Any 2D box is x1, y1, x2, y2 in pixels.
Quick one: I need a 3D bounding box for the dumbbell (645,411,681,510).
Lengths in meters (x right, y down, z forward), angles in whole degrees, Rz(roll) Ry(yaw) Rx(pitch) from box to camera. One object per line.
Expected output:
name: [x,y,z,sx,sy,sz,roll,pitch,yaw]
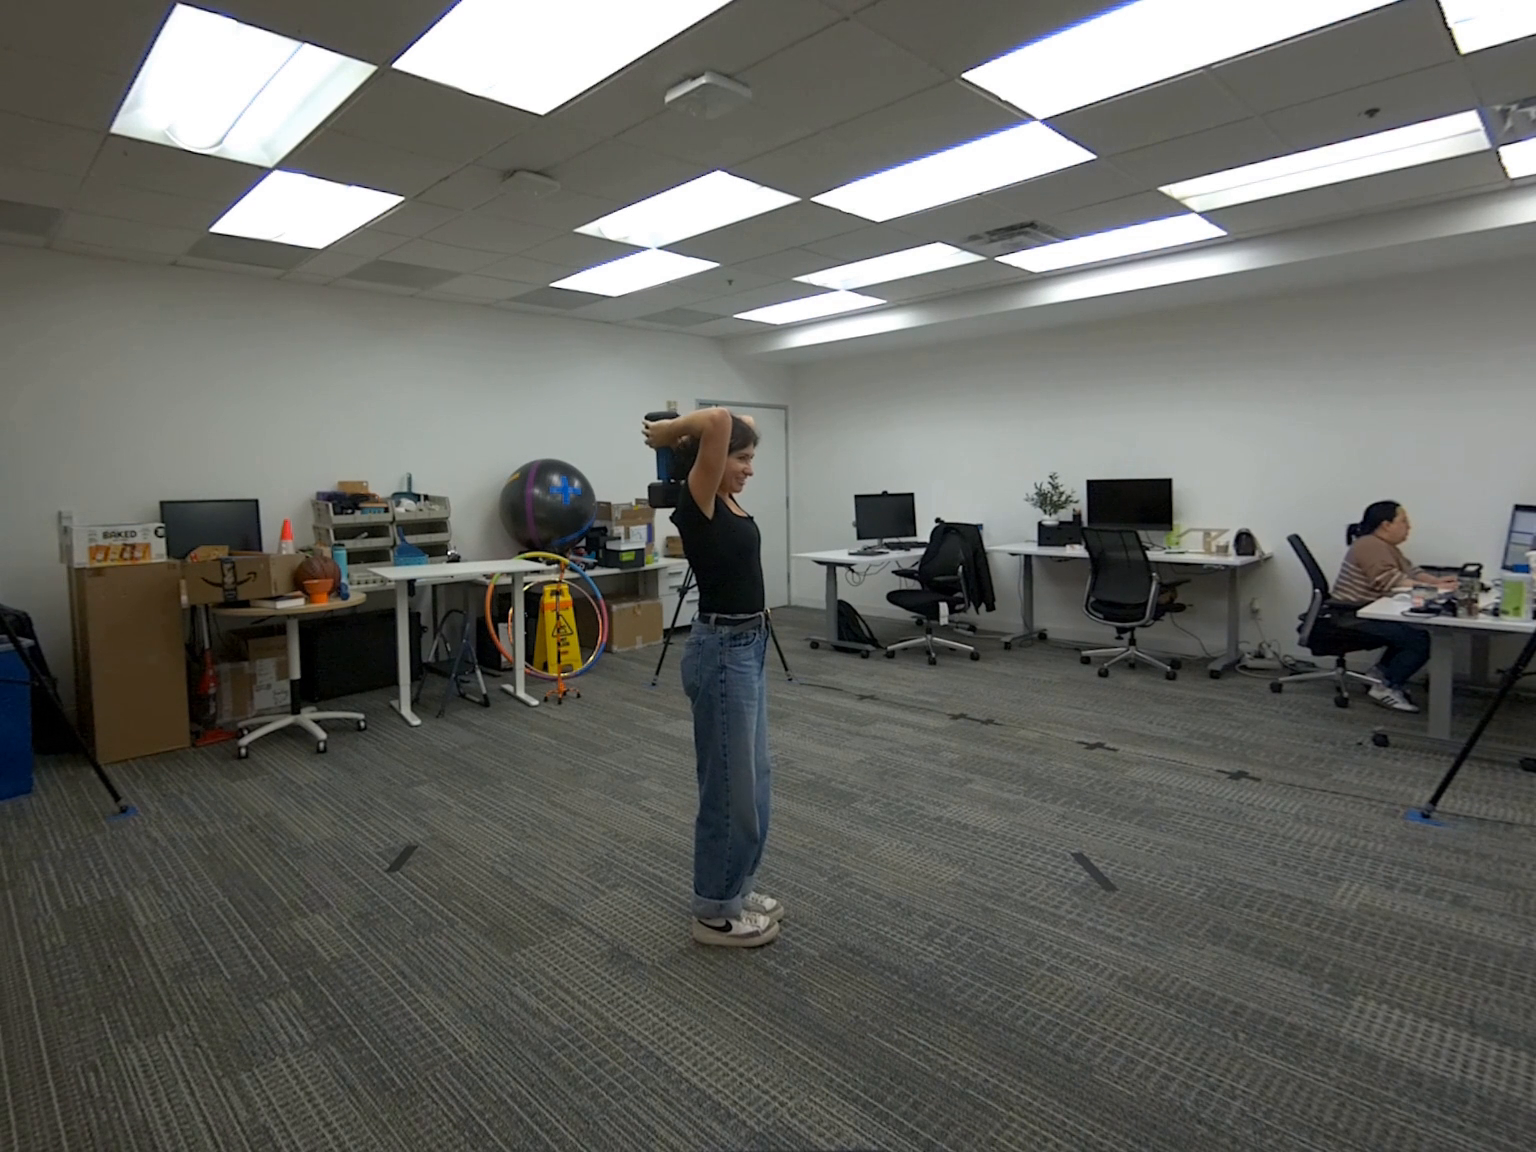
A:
dumbbell: [-0.307,-0.361,2.612,0.126,0.293,0.106,0,4,38]
